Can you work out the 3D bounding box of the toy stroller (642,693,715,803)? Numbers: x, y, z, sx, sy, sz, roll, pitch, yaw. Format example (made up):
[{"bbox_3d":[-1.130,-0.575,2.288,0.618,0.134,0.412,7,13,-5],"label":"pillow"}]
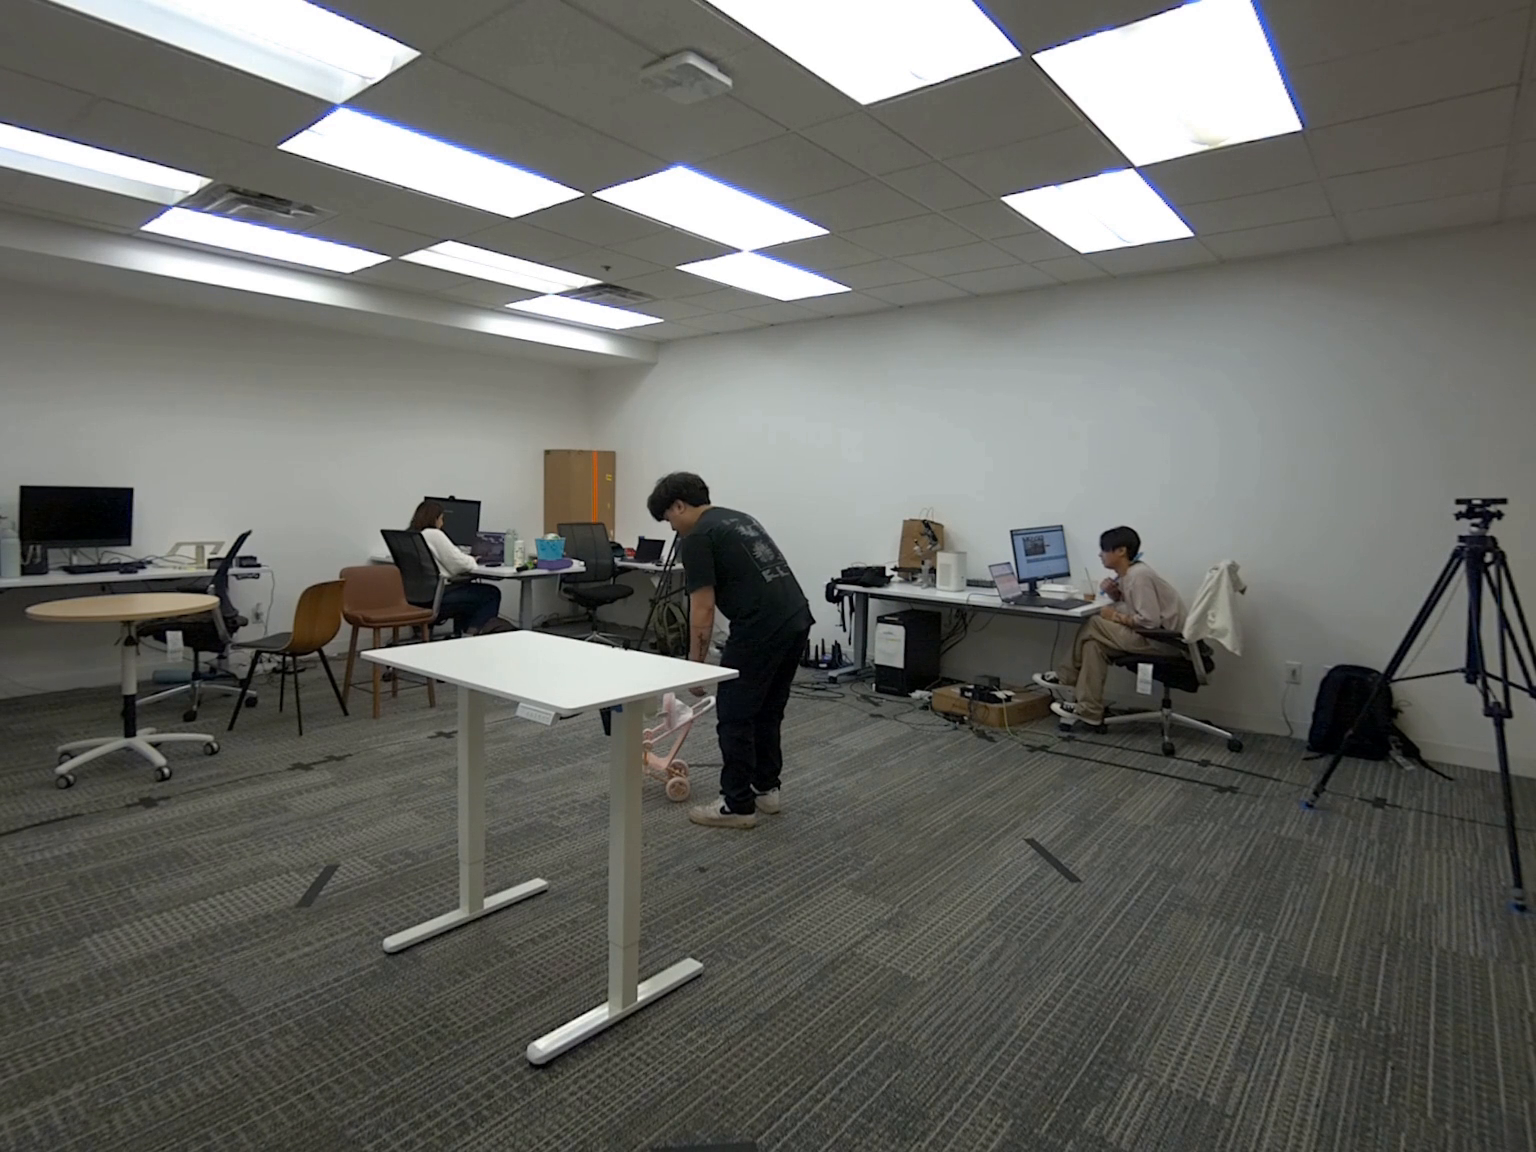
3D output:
[{"bbox_3d":[-0.487,0.770,3.917,0.342,0.534,0.281,16,2,1],"label":"toy stroller"}]
